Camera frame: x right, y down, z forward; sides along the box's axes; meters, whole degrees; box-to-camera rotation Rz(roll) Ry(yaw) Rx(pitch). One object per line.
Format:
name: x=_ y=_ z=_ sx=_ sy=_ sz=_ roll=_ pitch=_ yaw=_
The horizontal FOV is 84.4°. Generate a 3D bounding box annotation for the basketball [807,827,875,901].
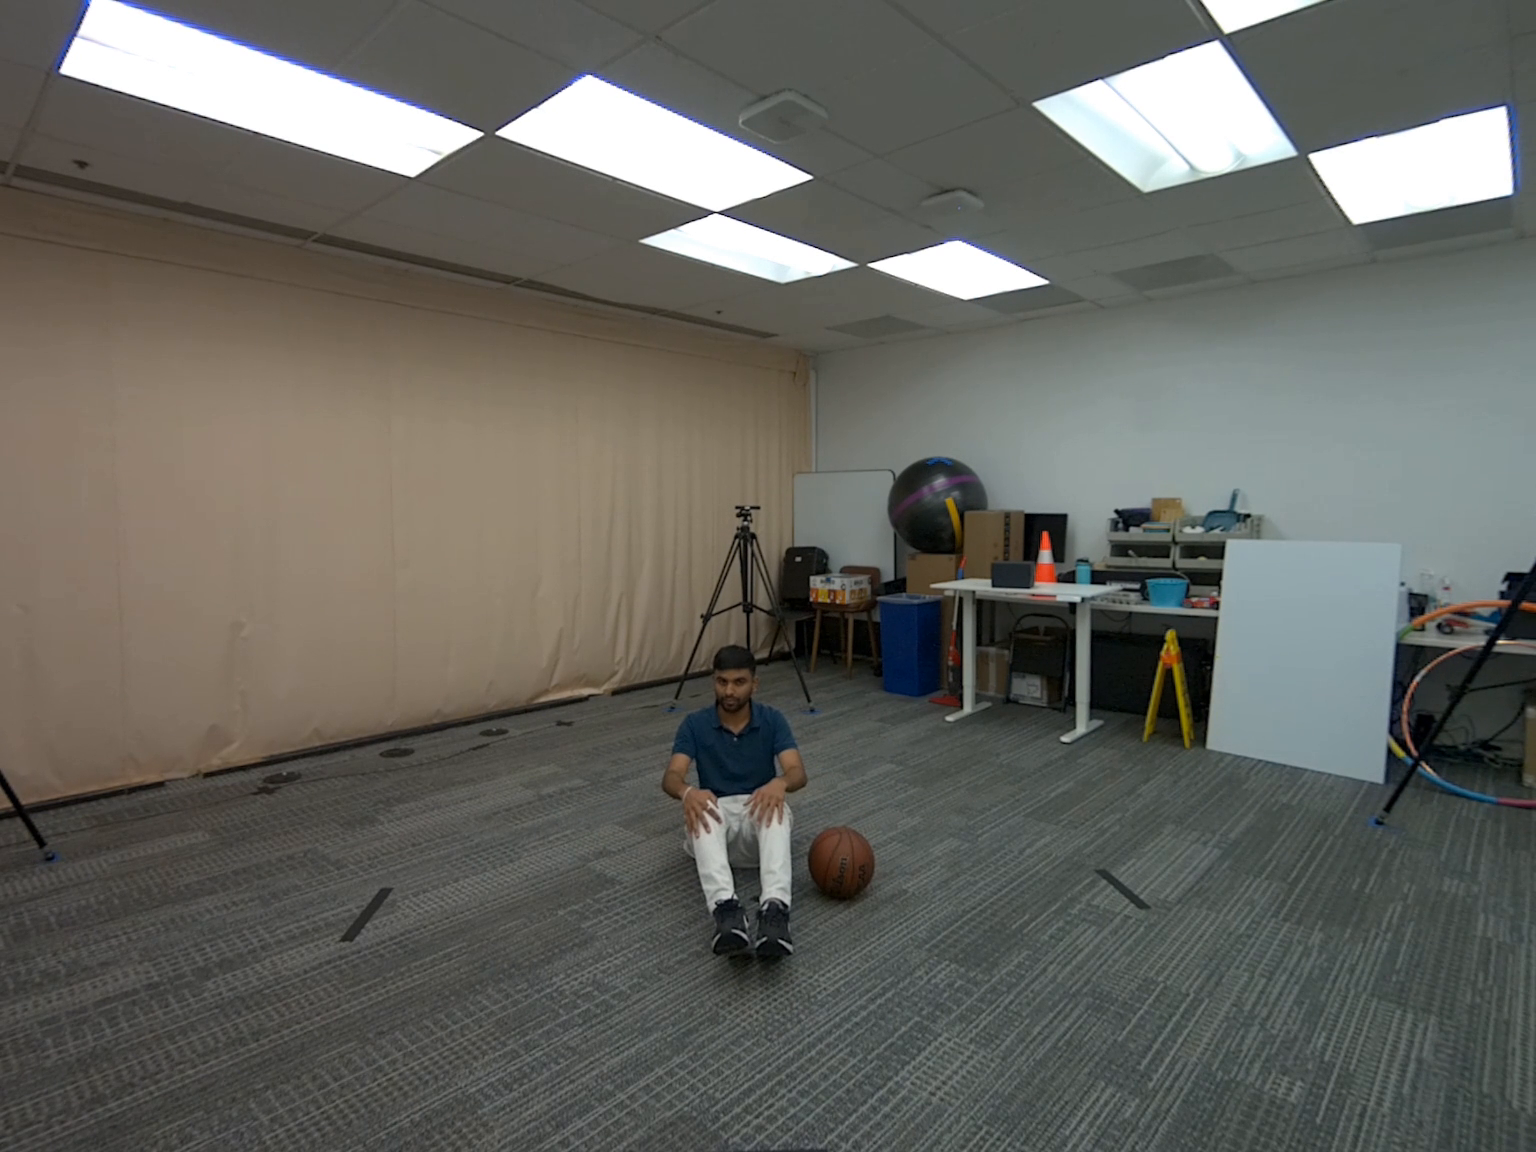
basketball: x=0.266 y=1.019 z=3.007 sx=0.236 sy=0.235 sz=0.237 roll=0 pitch=4 yaw=-2
